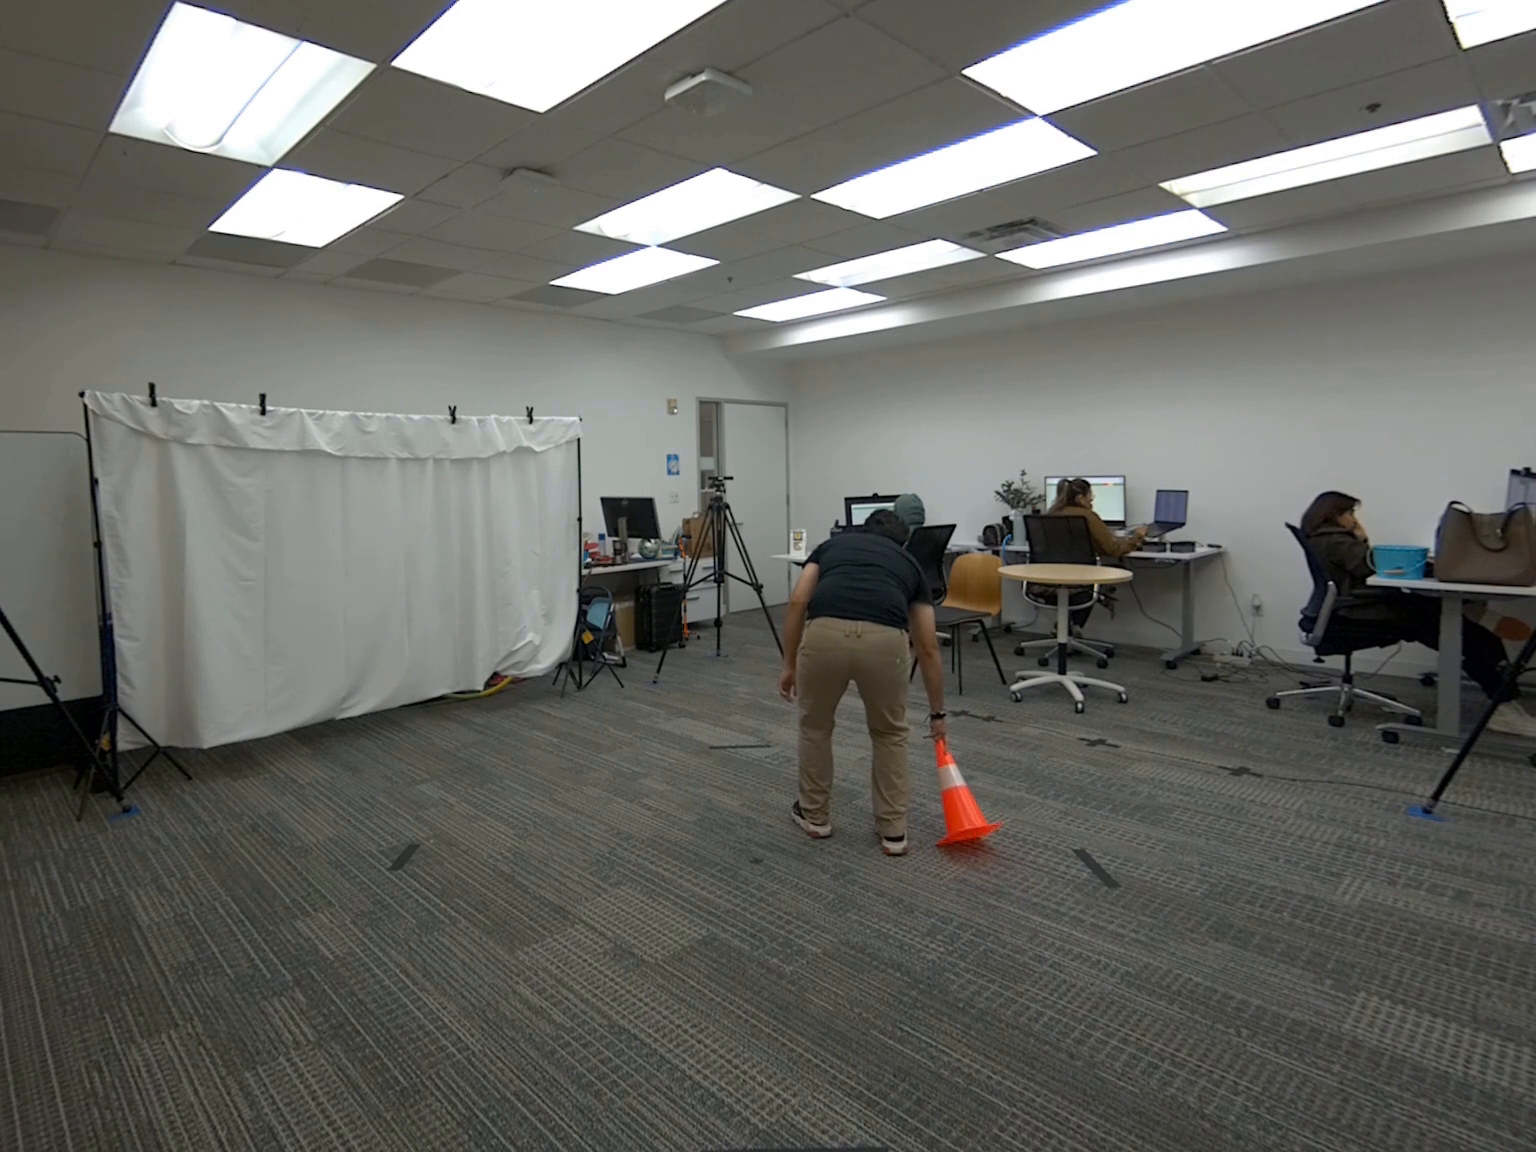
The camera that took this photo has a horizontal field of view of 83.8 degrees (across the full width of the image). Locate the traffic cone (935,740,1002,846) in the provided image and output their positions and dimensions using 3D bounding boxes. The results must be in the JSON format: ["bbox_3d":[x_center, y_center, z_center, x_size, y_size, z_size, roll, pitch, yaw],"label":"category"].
[{"bbox_3d":[0.707,0.799,3.259,0.200,0.395,0.202,-3,-31,-18],"label":"traffic cone"}]
